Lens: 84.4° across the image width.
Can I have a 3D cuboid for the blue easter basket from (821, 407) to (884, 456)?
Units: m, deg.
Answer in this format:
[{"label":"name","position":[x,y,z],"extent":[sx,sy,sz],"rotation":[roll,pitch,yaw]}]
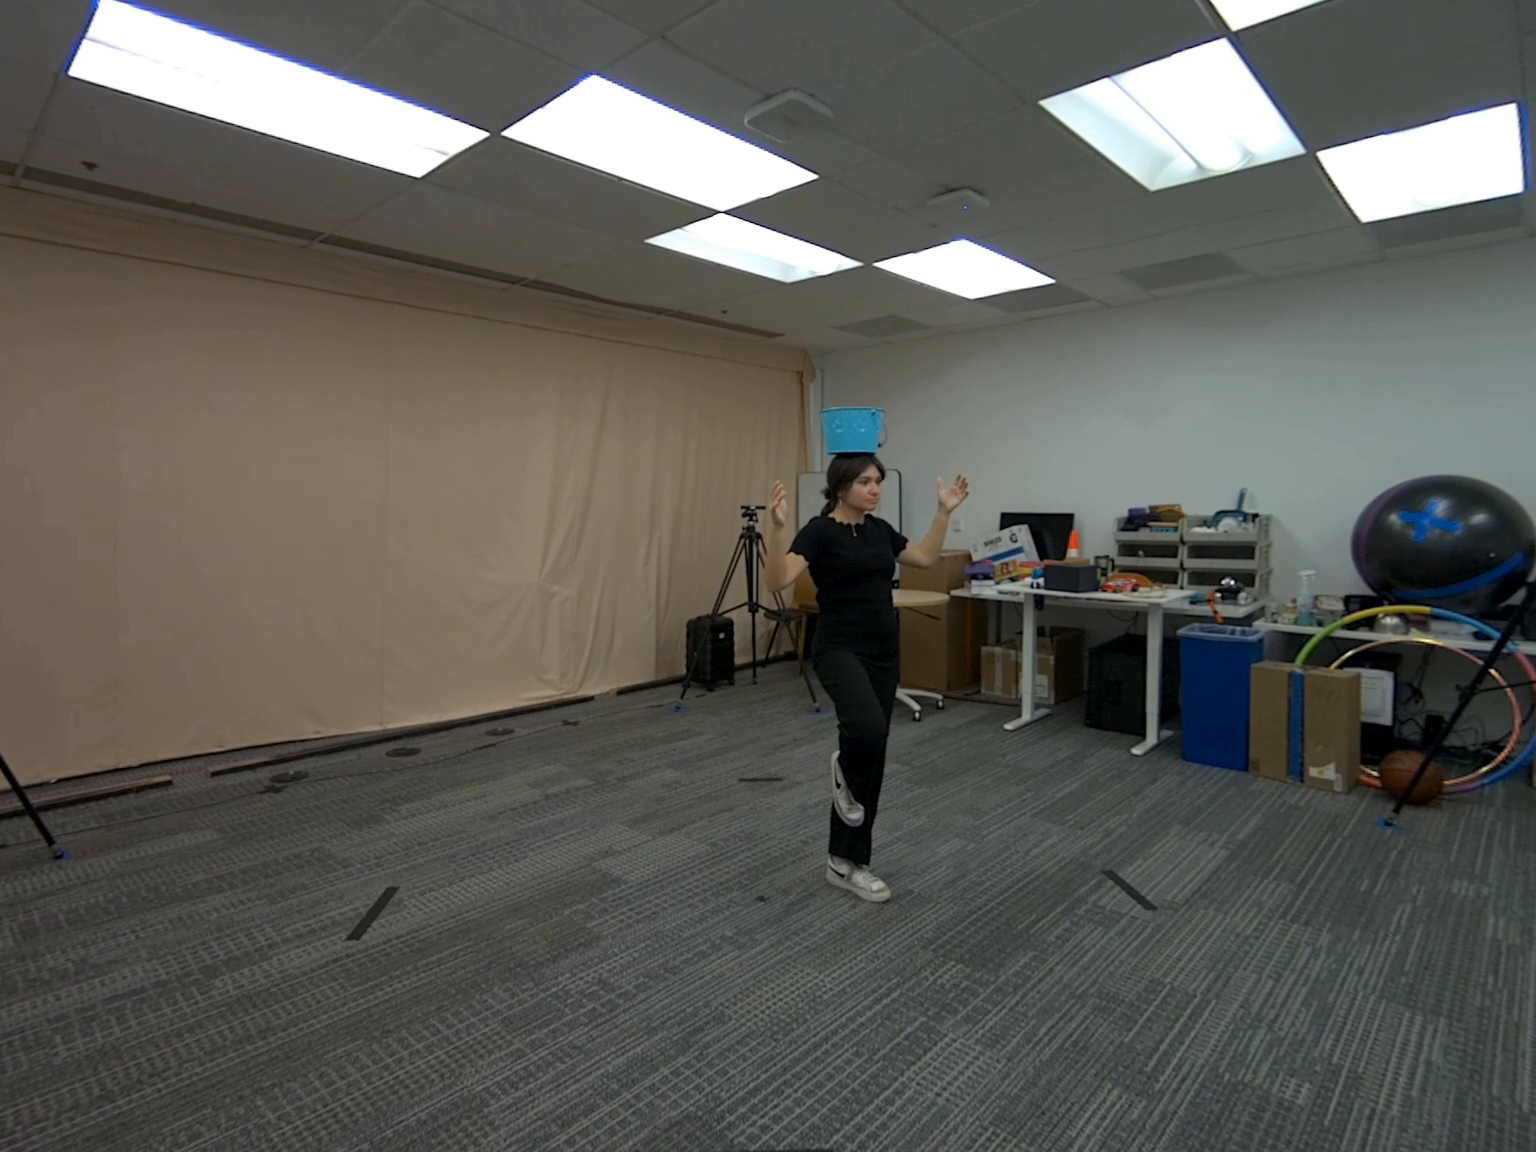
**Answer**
[{"label":"blue easter basket","position":[0.311,-0.518,3.032],"extent":[0.243,0.155,0.244],"rotation":[1,4,-2]}]
